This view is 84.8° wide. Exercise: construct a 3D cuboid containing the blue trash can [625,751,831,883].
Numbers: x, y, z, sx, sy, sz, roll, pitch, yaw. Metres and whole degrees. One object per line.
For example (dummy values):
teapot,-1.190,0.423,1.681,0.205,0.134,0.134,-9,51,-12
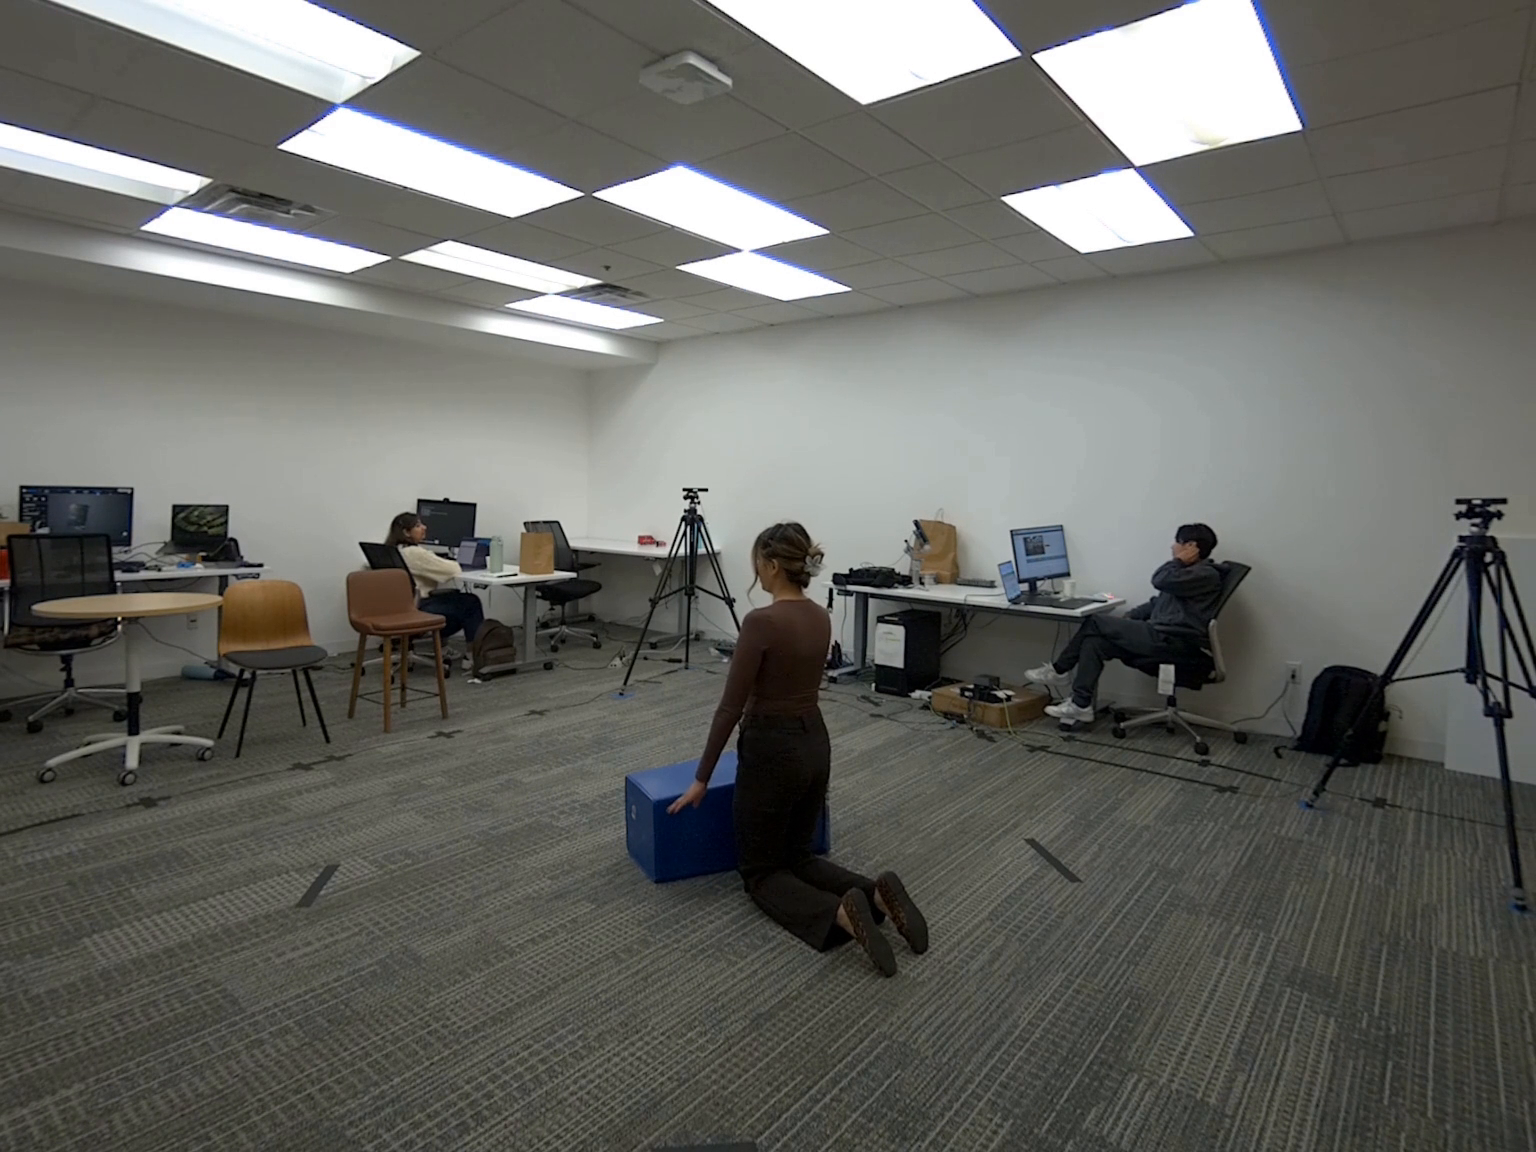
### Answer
blue trash can,-0.168,0.879,3.256,0.697,0.376,0.385,-3,7,-26
